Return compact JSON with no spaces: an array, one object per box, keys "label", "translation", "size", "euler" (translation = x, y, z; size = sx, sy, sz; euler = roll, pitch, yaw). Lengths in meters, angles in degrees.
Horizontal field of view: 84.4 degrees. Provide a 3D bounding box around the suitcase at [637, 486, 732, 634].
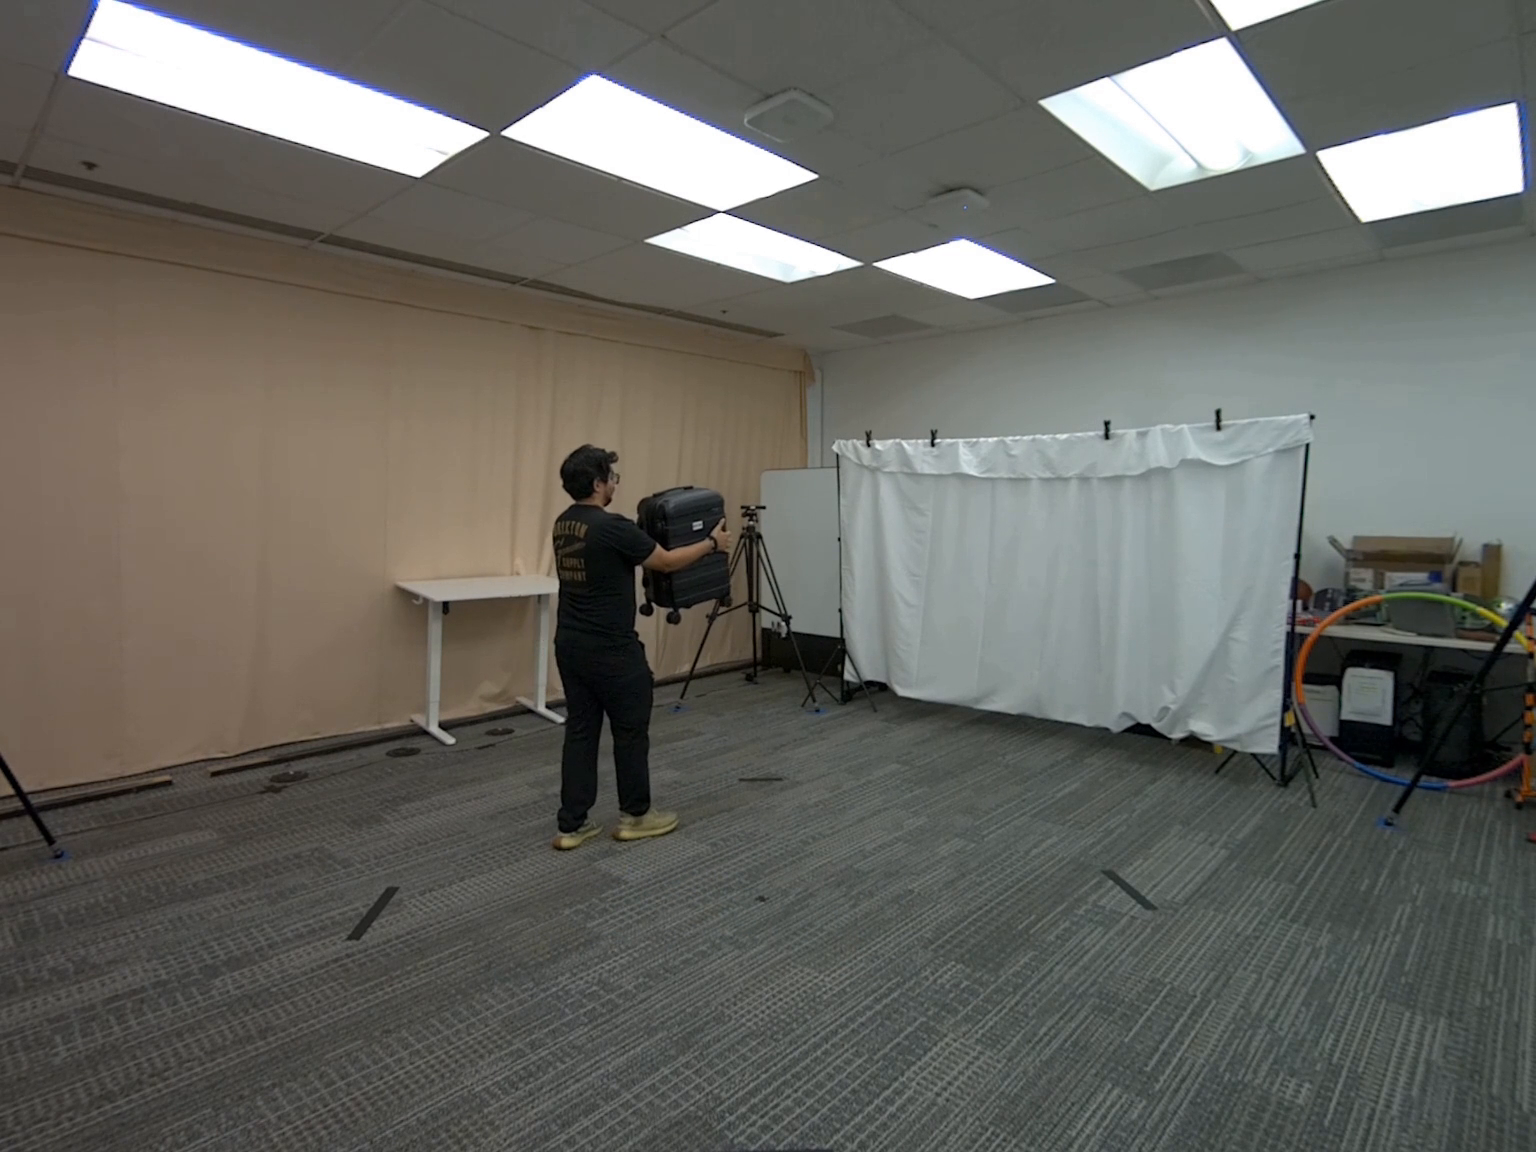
[{"label":"suitcase","translation":[-0.369,-0.113,3.741],"size":[0.366,0.544,0.257],"euler":[-15,18,-40]}]
